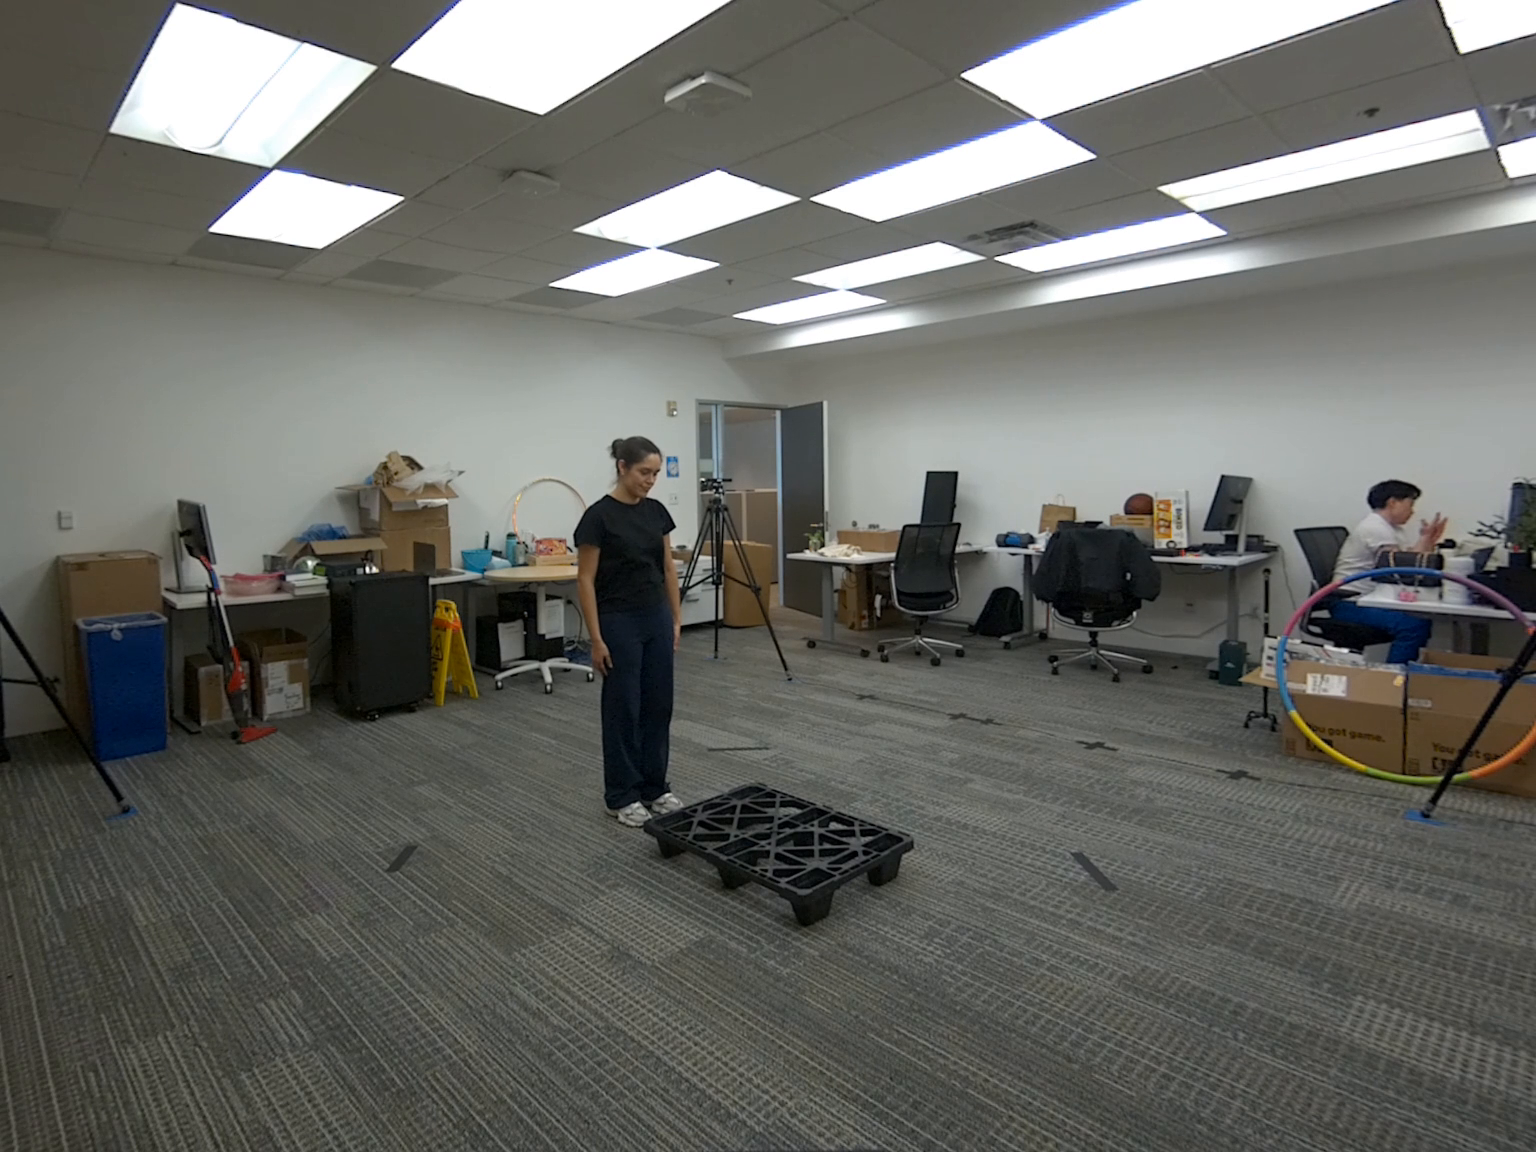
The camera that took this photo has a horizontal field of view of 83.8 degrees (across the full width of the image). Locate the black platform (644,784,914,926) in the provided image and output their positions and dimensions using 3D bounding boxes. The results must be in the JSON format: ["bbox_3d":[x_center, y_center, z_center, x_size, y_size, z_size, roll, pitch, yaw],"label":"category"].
[{"bbox_3d":[0.025,0.981,3.096,0.589,0.143,0.831,-6,8,-44],"label":"black platform"}]
